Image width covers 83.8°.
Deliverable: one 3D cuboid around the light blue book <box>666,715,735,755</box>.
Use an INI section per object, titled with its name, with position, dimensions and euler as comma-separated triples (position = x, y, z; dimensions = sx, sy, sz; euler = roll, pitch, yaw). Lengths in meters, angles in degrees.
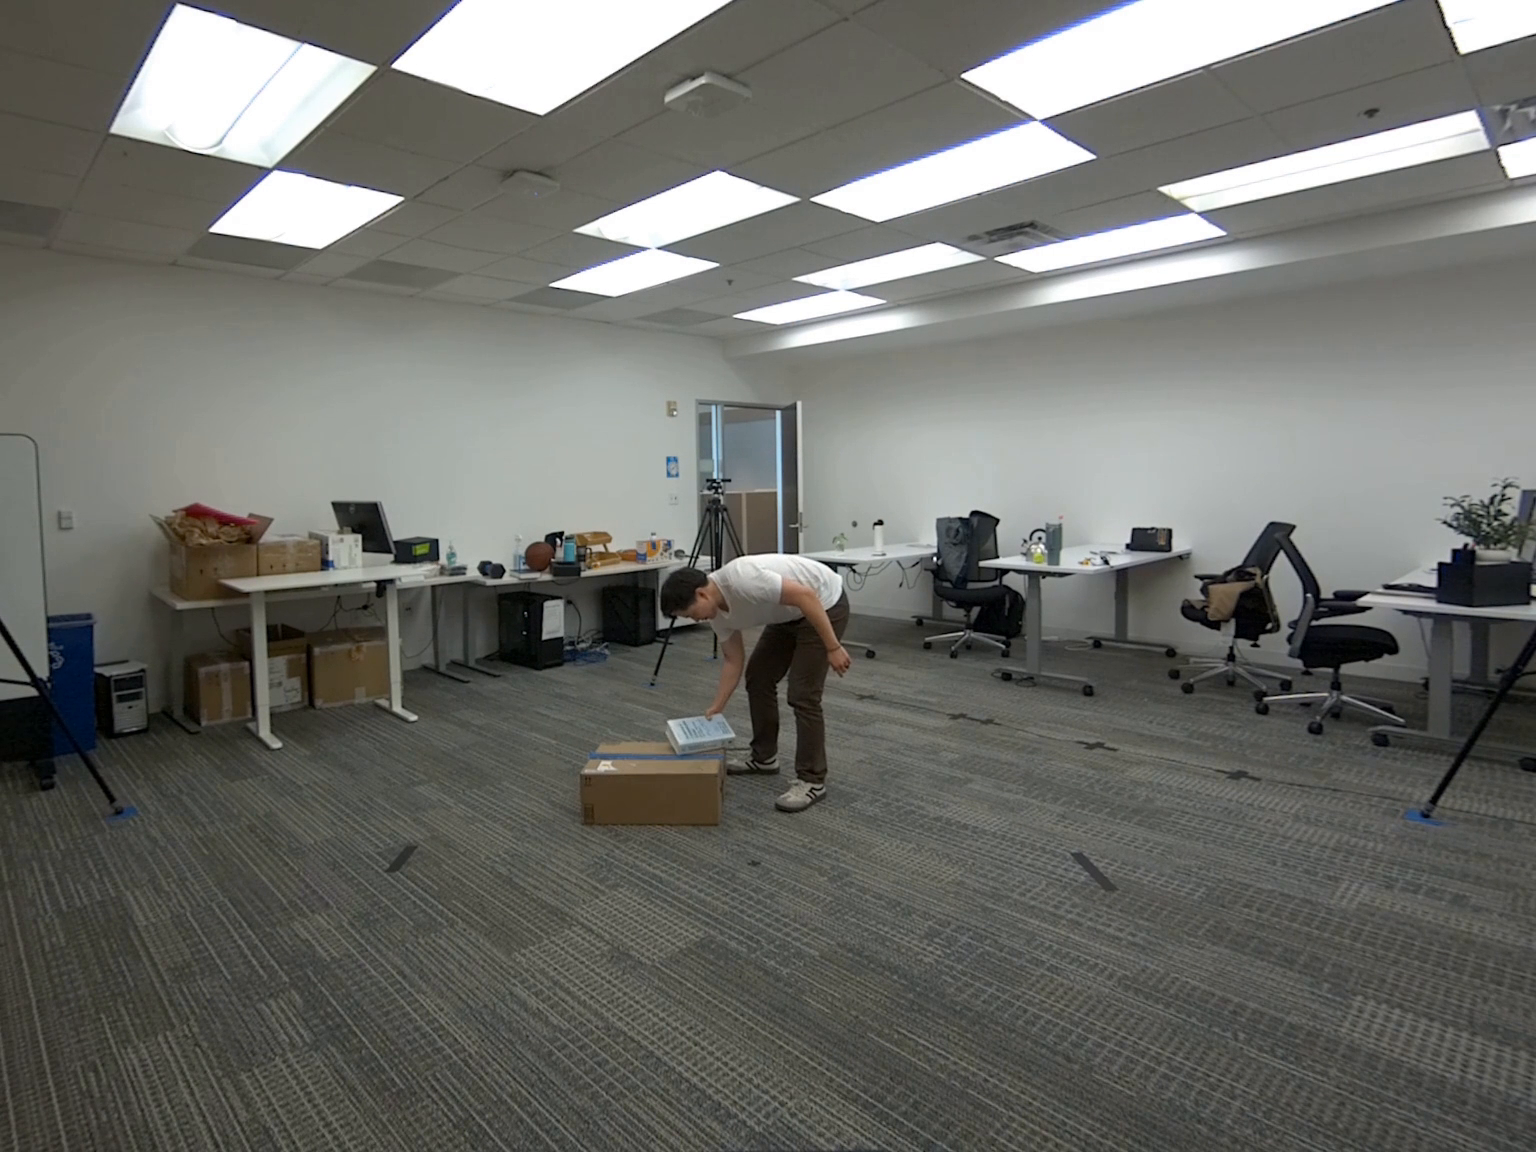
[light blue book]
position = -0.305, 0.701, 3.792
dimensions = 0.256, 0.058, 0.198
euler = -5, 23, -21
